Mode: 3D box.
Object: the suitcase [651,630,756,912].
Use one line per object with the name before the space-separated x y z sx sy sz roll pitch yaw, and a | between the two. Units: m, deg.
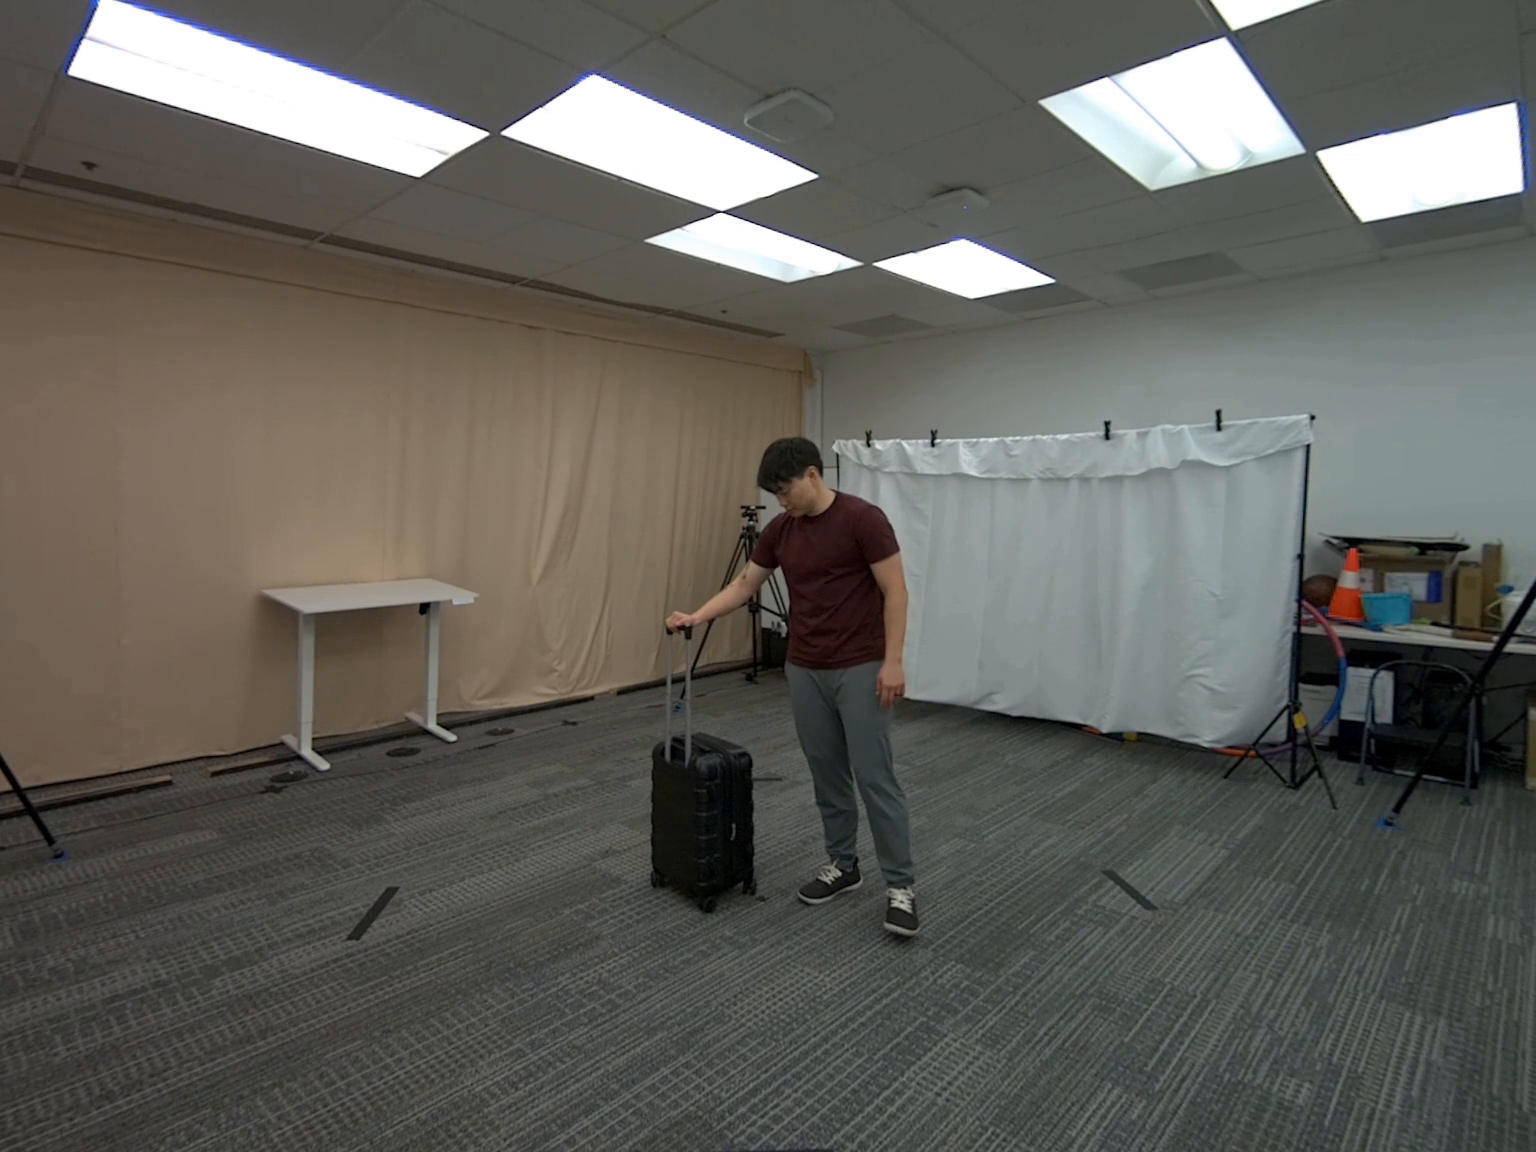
suitcase | -0.242 0.665 3.051 0.249 0.977 0.396 -1 3 -40
